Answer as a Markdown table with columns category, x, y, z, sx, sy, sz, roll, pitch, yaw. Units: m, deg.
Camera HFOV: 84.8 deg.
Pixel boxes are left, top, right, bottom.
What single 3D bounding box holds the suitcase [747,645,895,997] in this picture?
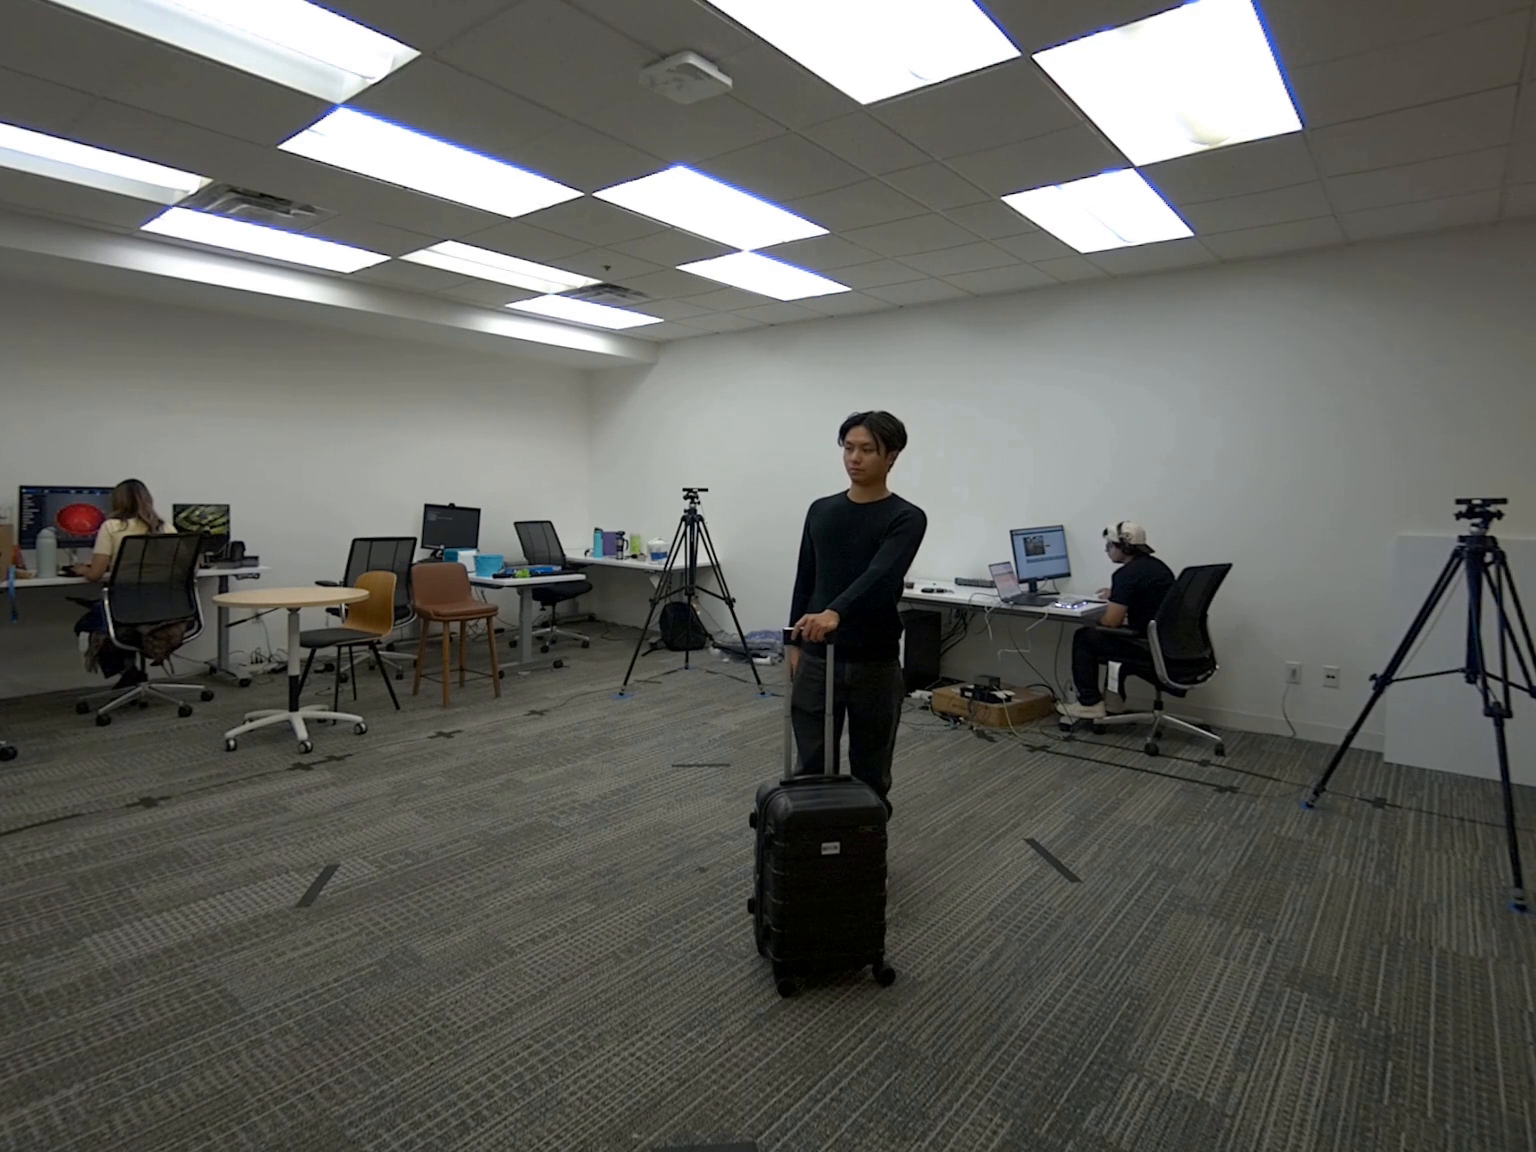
| category | x | y | z | sx | sy | sz | roll | pitch | yaw |
| --- | --- | --- | --- | --- | --- | --- | --- | --- | --- |
| suitcase | 0.145 | 0.665 | 2.451 | 0.378 | 0.973 | 0.262 | -1 | 6 | -14 |
